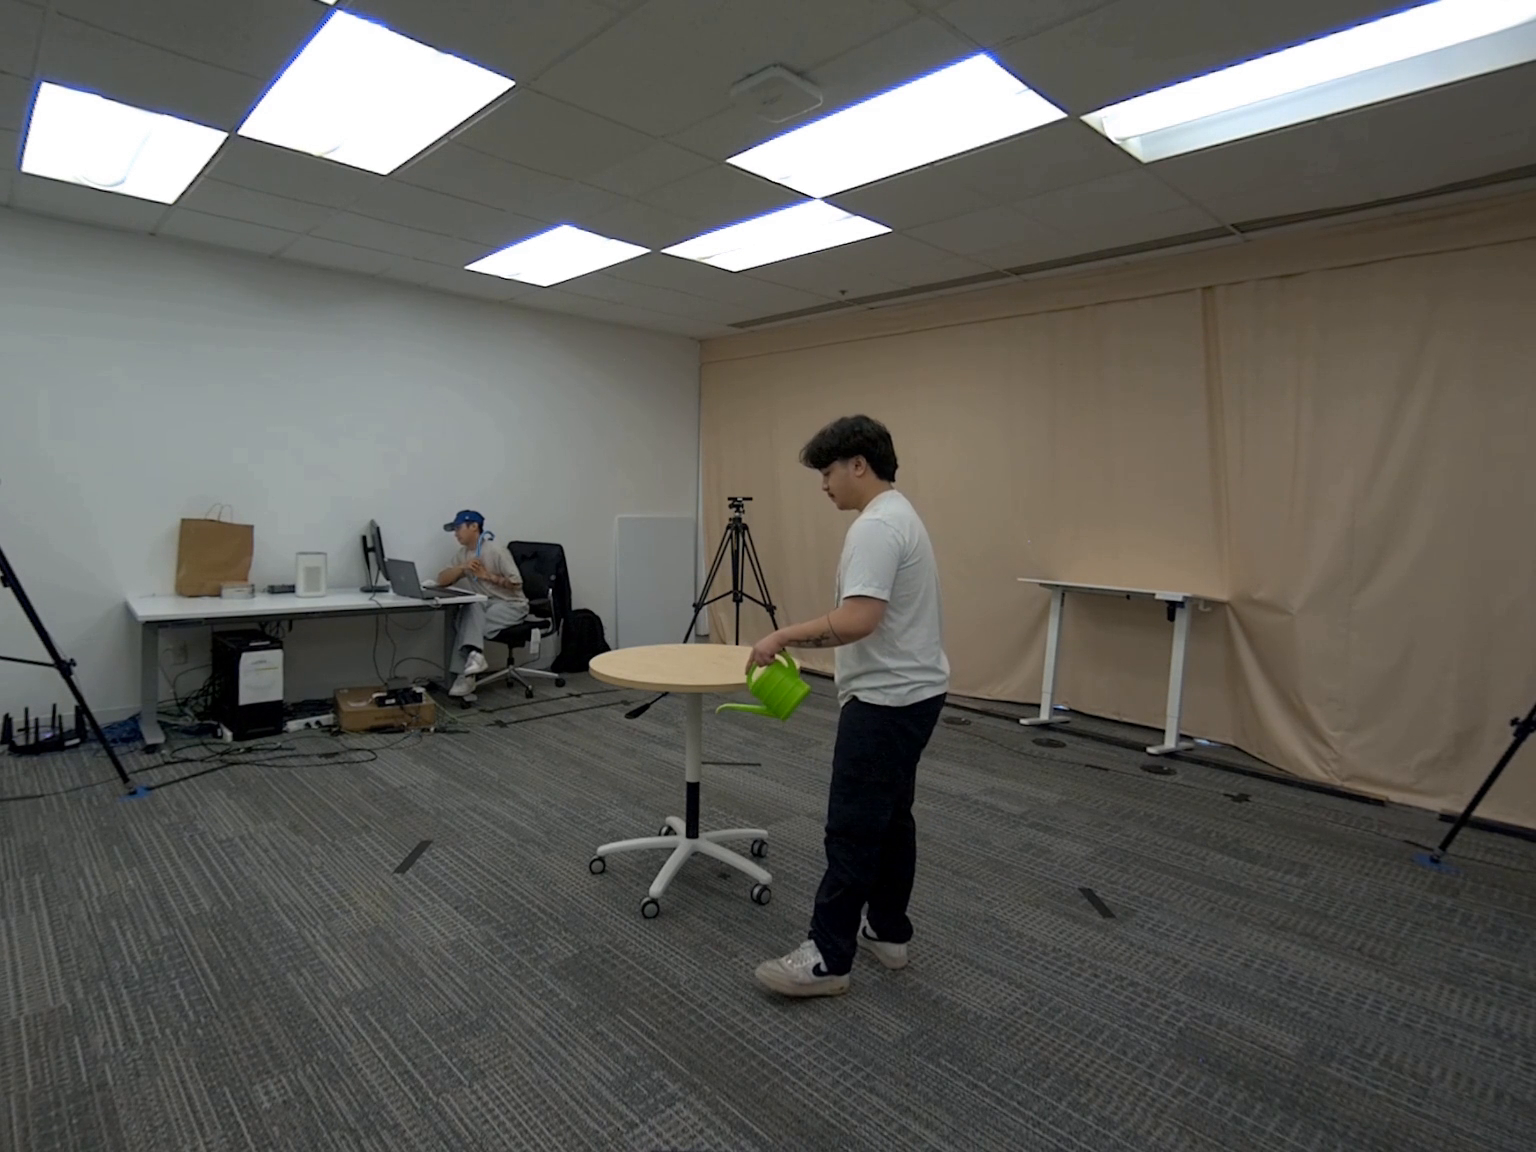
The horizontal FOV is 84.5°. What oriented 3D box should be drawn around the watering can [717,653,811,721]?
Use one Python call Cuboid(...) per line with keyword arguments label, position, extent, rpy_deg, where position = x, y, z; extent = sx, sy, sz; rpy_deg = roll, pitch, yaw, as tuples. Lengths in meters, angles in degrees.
Cuboid(label="watering can", position=(-0.004, 0.349, 2.454), extent=(0.179, 0.277, 0.097), rpy_deg=(42, 27, 14))
